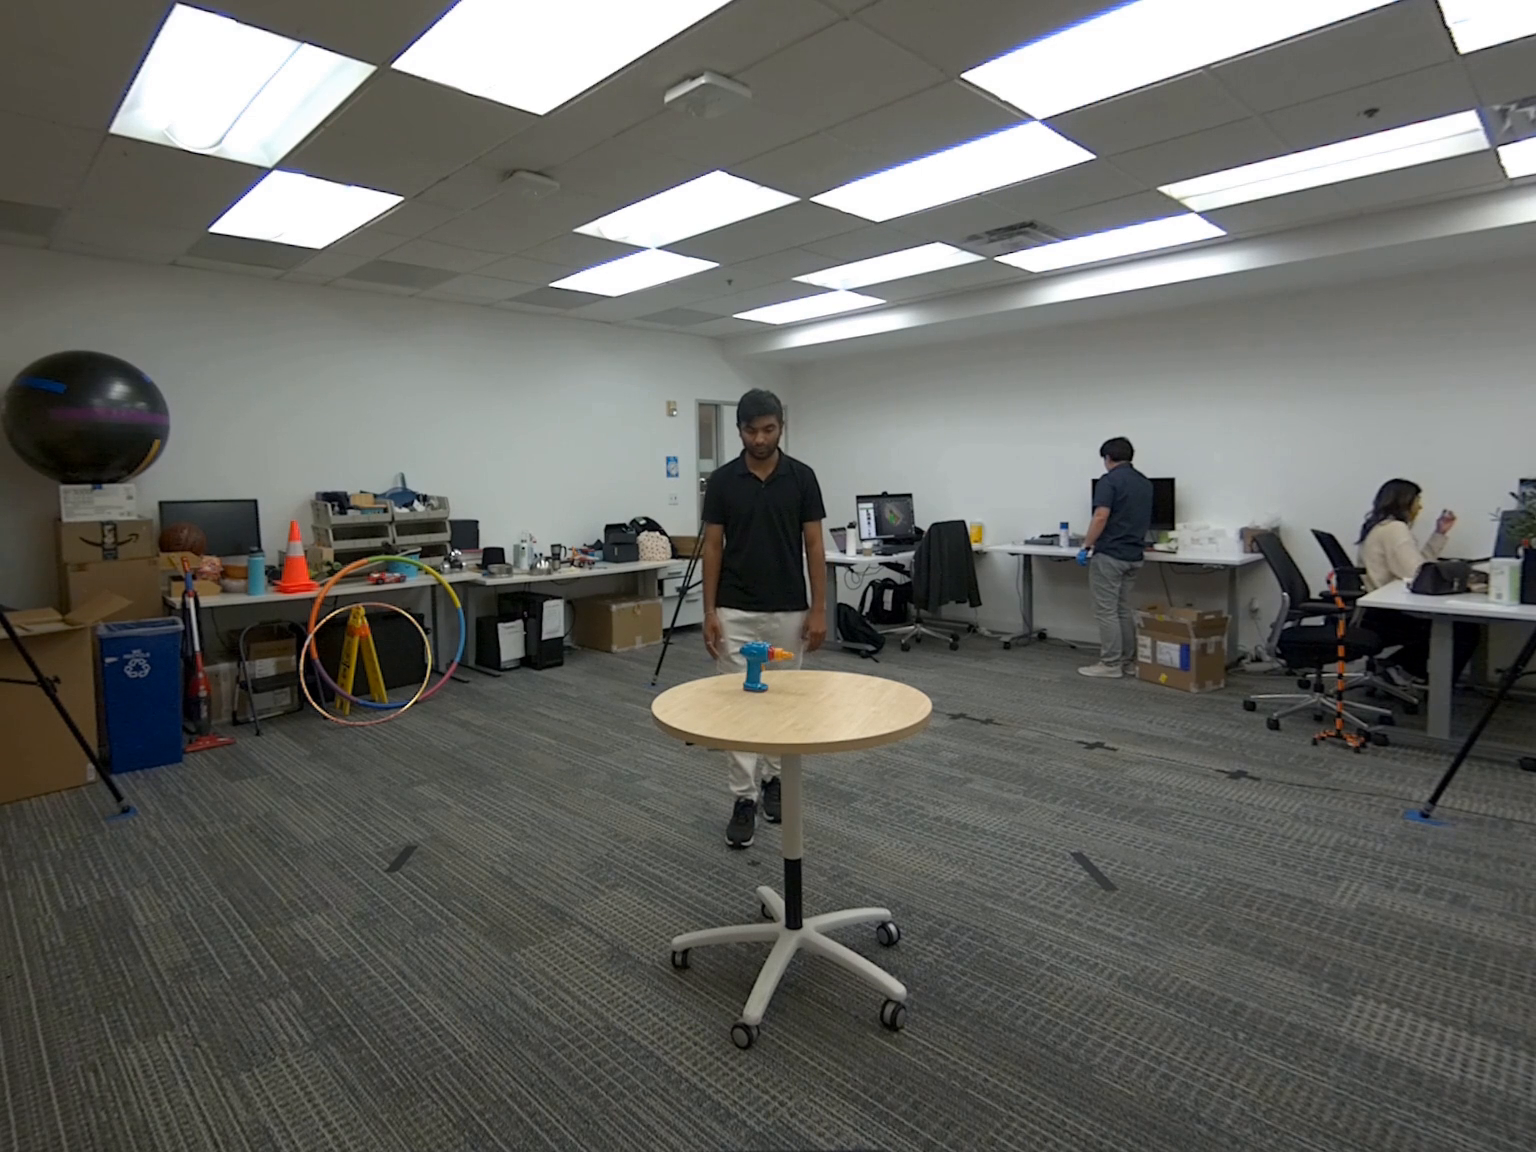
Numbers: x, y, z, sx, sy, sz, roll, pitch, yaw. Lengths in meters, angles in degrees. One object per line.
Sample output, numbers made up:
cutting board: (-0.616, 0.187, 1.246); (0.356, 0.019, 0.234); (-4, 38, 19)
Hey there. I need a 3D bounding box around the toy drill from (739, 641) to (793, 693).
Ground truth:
toy drill: (-0.005, 0.265, 2.470); (0.173, 0.145, 0.060); (0, 4, 24)
